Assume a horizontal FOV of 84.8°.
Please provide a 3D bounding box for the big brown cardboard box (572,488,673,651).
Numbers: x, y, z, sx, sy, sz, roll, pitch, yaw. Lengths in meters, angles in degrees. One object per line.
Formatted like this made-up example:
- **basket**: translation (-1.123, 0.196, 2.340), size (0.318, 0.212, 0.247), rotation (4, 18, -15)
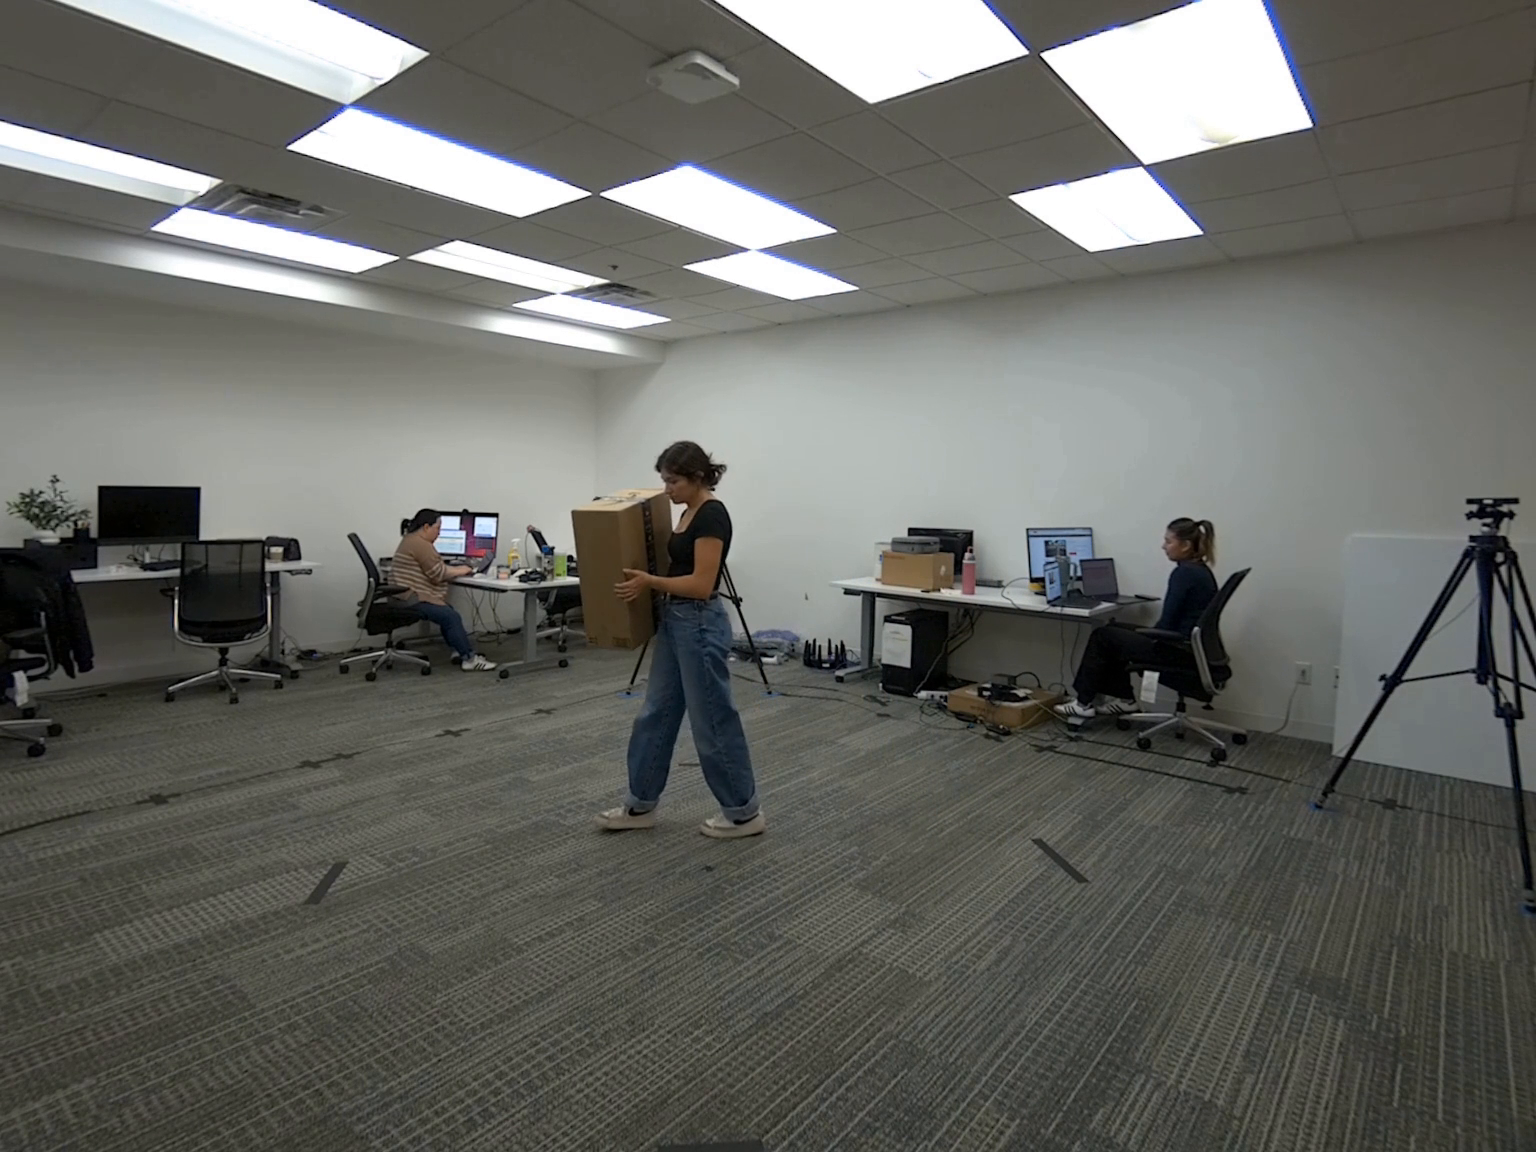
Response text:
- **big brown cardboard box**: translation (-0.587, -0.049, 3.494), size (0.239, 0.581, 0.413), rotation (1, 14, 23)
